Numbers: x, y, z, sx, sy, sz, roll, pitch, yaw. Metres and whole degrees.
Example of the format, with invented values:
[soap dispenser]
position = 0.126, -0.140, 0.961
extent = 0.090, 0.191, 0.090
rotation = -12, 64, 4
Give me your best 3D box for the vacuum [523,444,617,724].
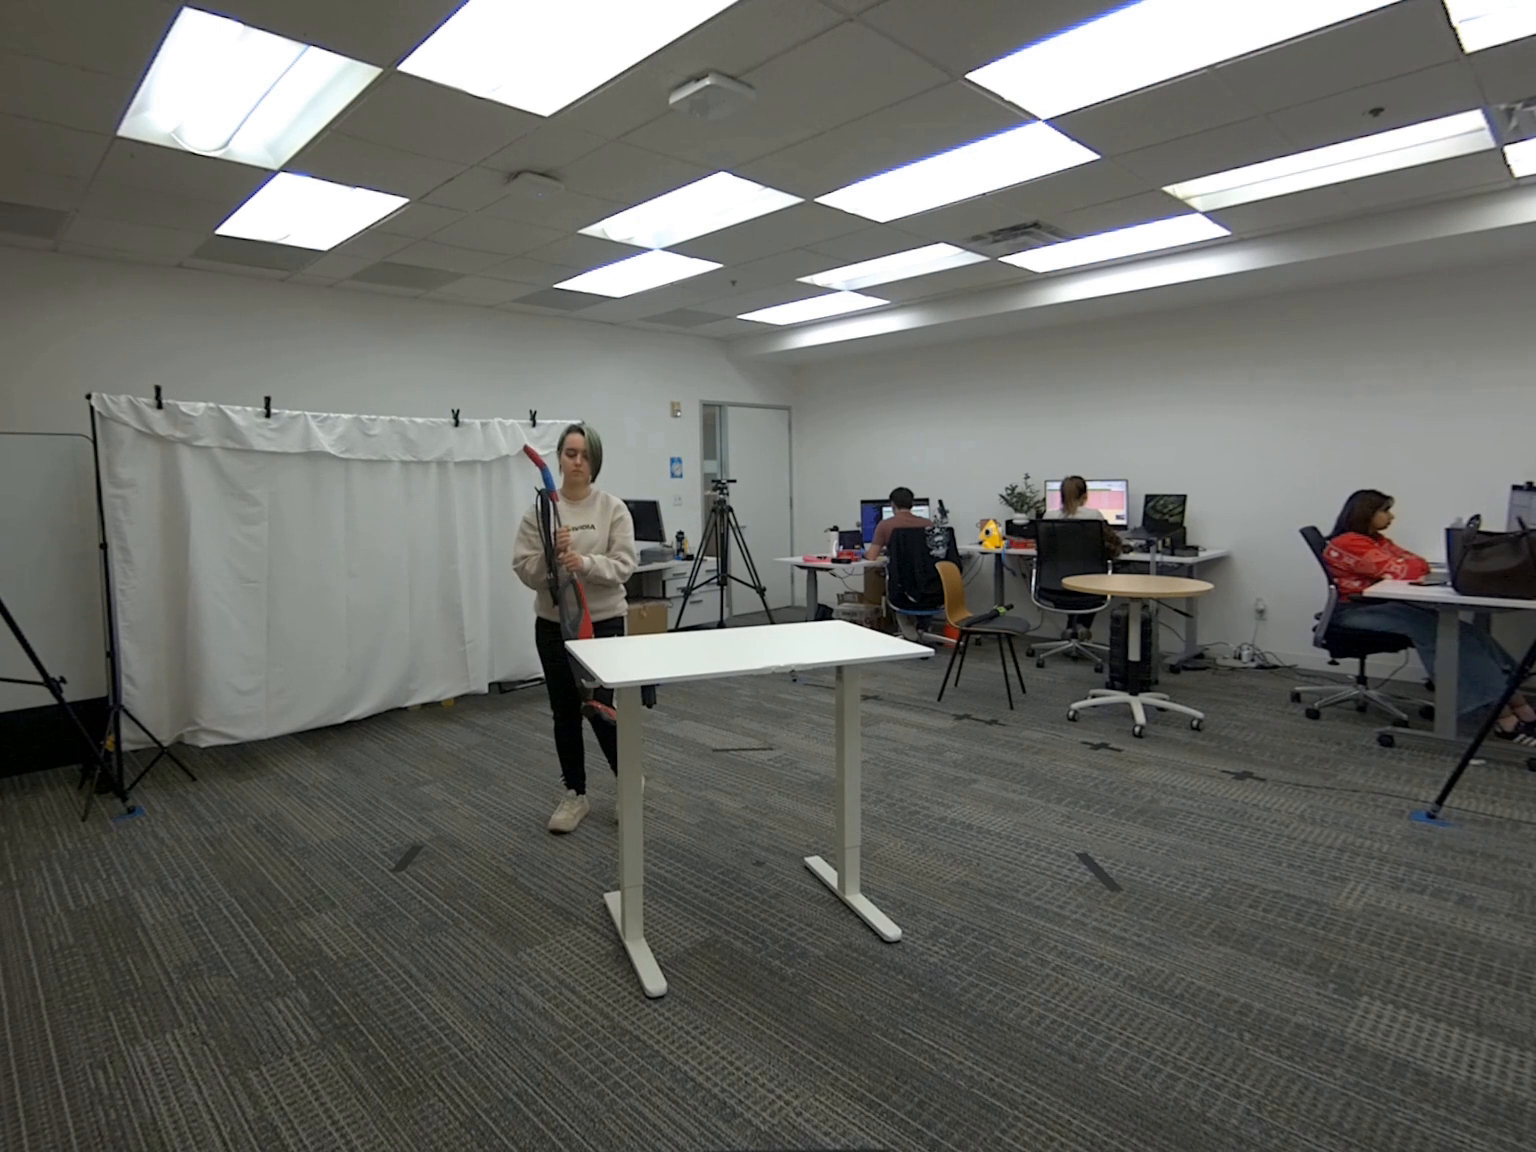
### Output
[vacuum]
position = -0.768, 0.015, 3.226
extent = 0.143, 1.051, 0.253
rotation = -15, -1, -5
